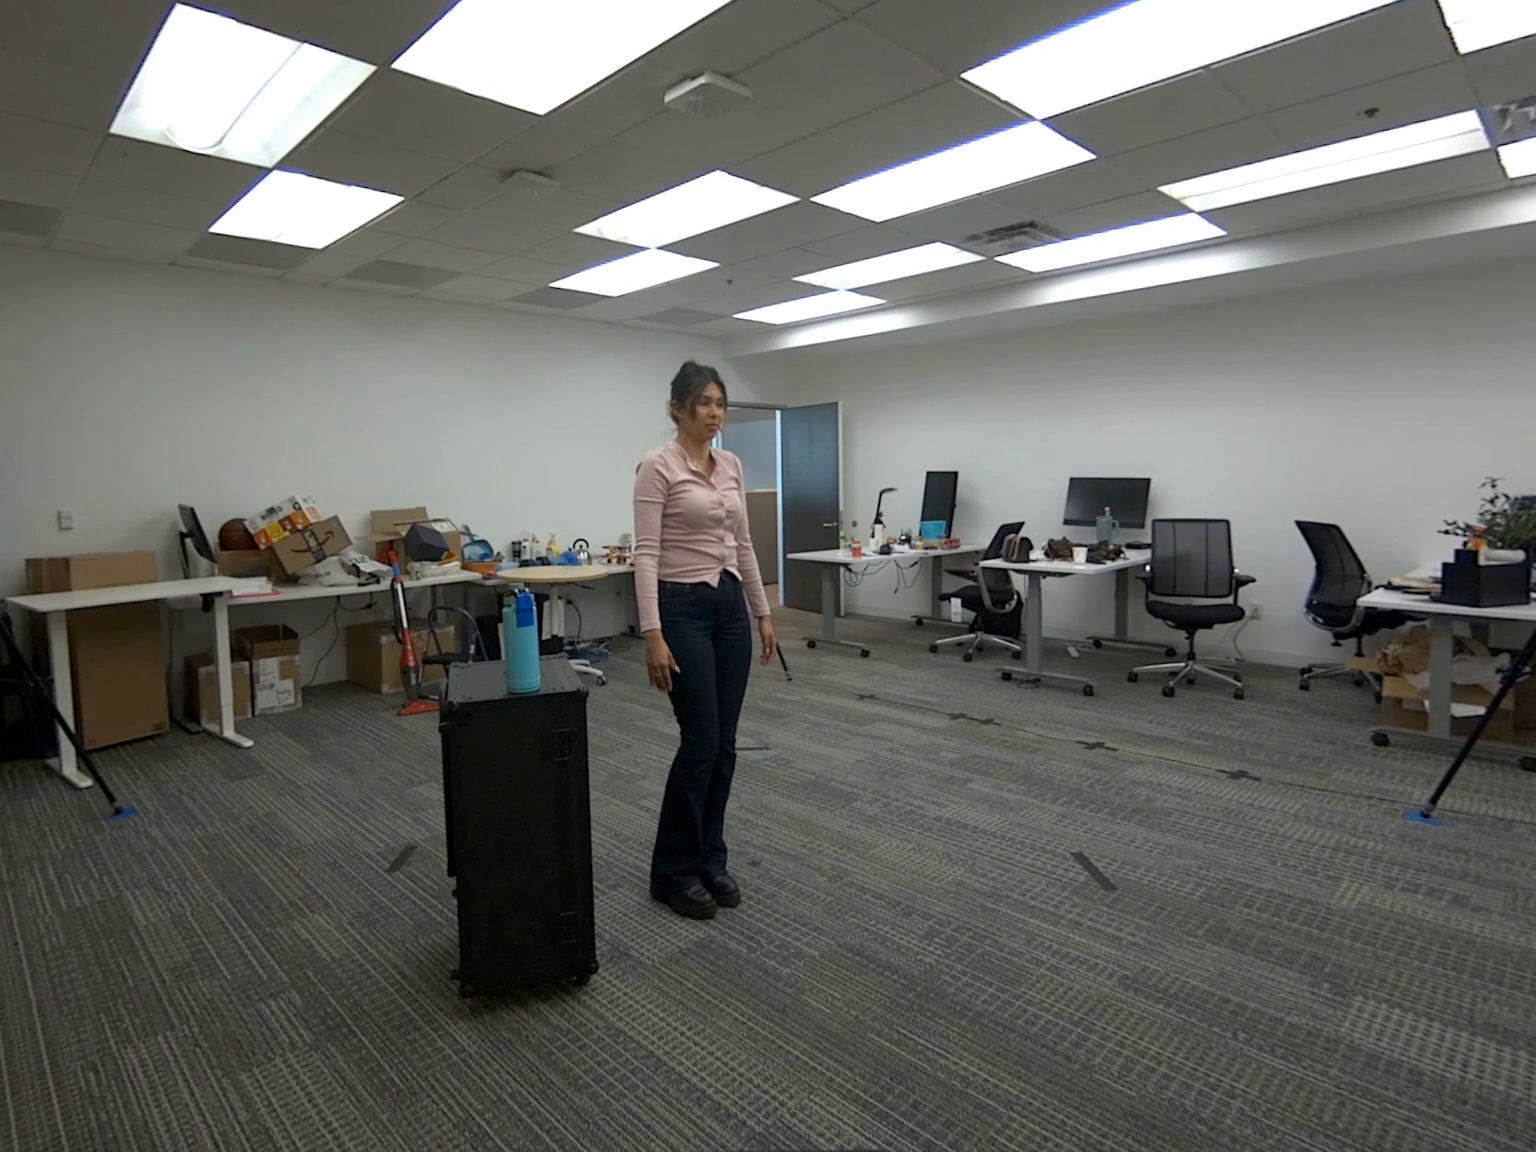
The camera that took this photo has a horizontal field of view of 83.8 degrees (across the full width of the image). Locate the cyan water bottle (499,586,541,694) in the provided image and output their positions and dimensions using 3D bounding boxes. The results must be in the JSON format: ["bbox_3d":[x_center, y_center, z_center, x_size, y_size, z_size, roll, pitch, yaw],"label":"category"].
[{"bbox_3d":[-0.657,0.164,2.273,0.092,0.282,0.093,-1,5,-2],"label":"cyan water bottle"}]
